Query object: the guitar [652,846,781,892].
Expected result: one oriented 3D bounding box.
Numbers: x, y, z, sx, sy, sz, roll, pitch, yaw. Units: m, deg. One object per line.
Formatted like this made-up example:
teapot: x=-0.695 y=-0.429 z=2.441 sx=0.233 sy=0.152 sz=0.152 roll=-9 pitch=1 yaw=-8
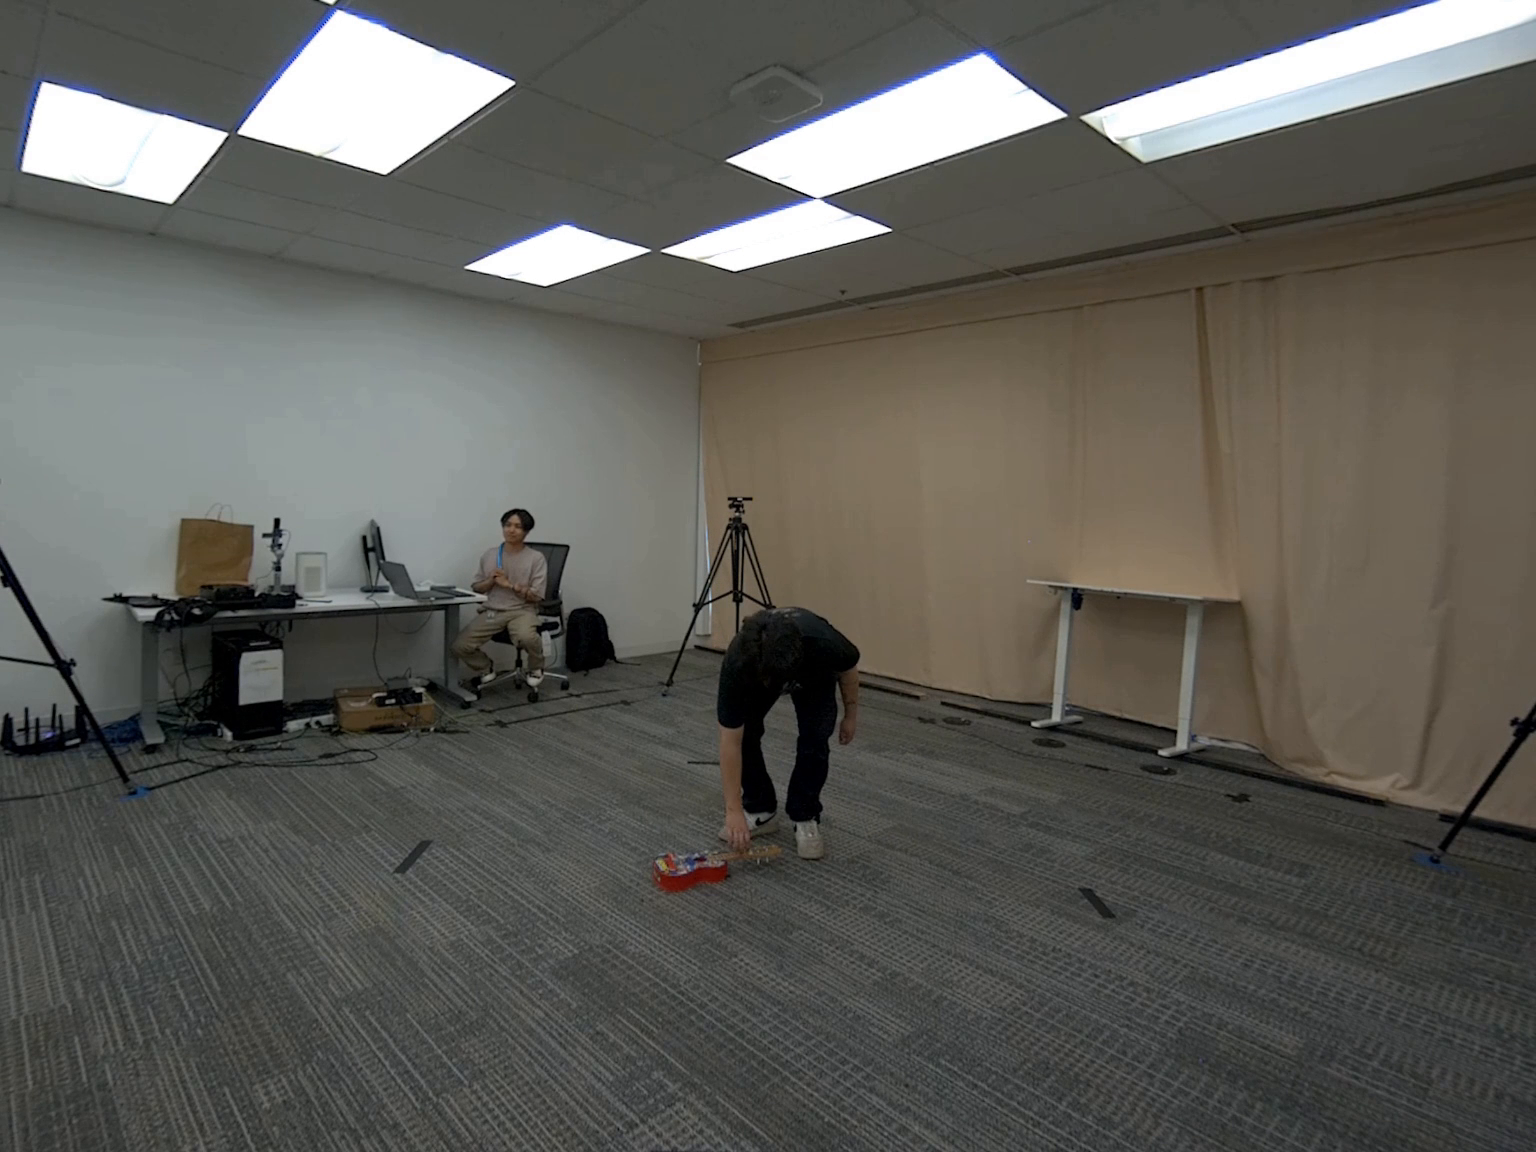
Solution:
guitar: x=-0.181 y=1.072 z=3.101 sx=0.493 sy=0.070 sz=0.195 roll=-1 pitch=5 yaw=-12
